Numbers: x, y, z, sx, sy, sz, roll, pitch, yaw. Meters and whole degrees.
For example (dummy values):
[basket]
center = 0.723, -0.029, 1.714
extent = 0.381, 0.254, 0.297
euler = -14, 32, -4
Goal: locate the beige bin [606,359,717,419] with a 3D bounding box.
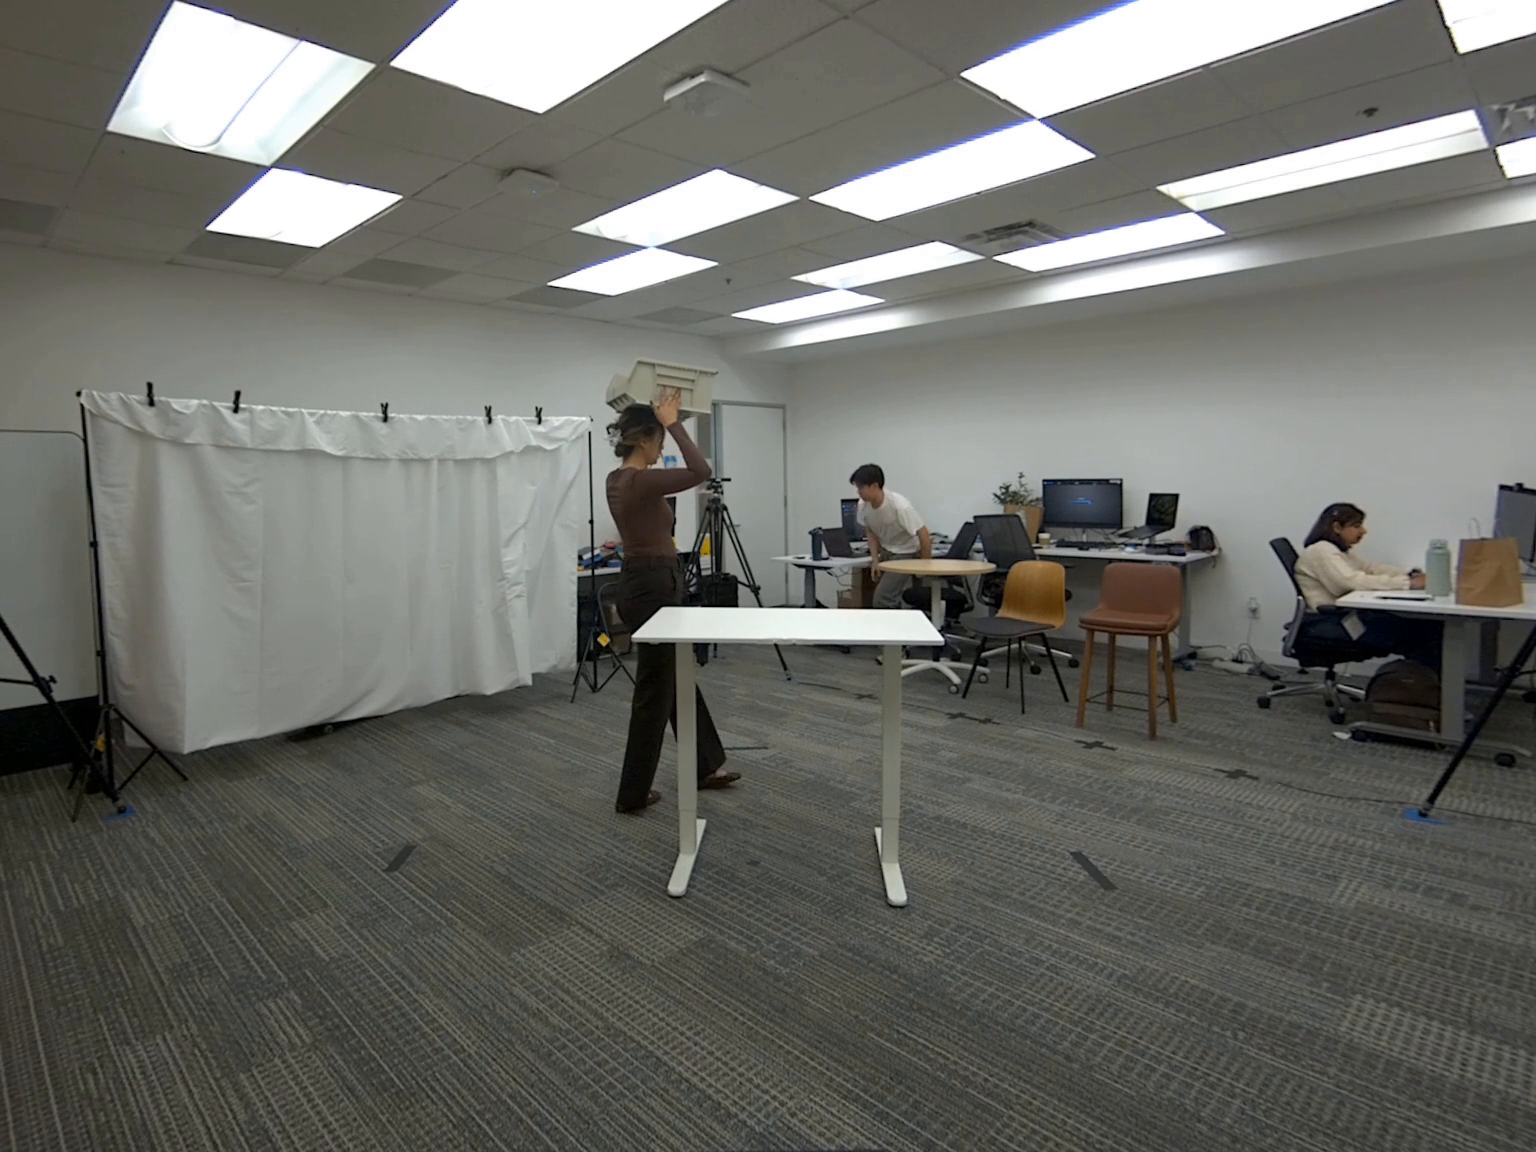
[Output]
[beige bin]
center = -0.463, -0.780, 3.616
extent = 0.370, 0.189, 0.431
euler = 6, 3, -21
